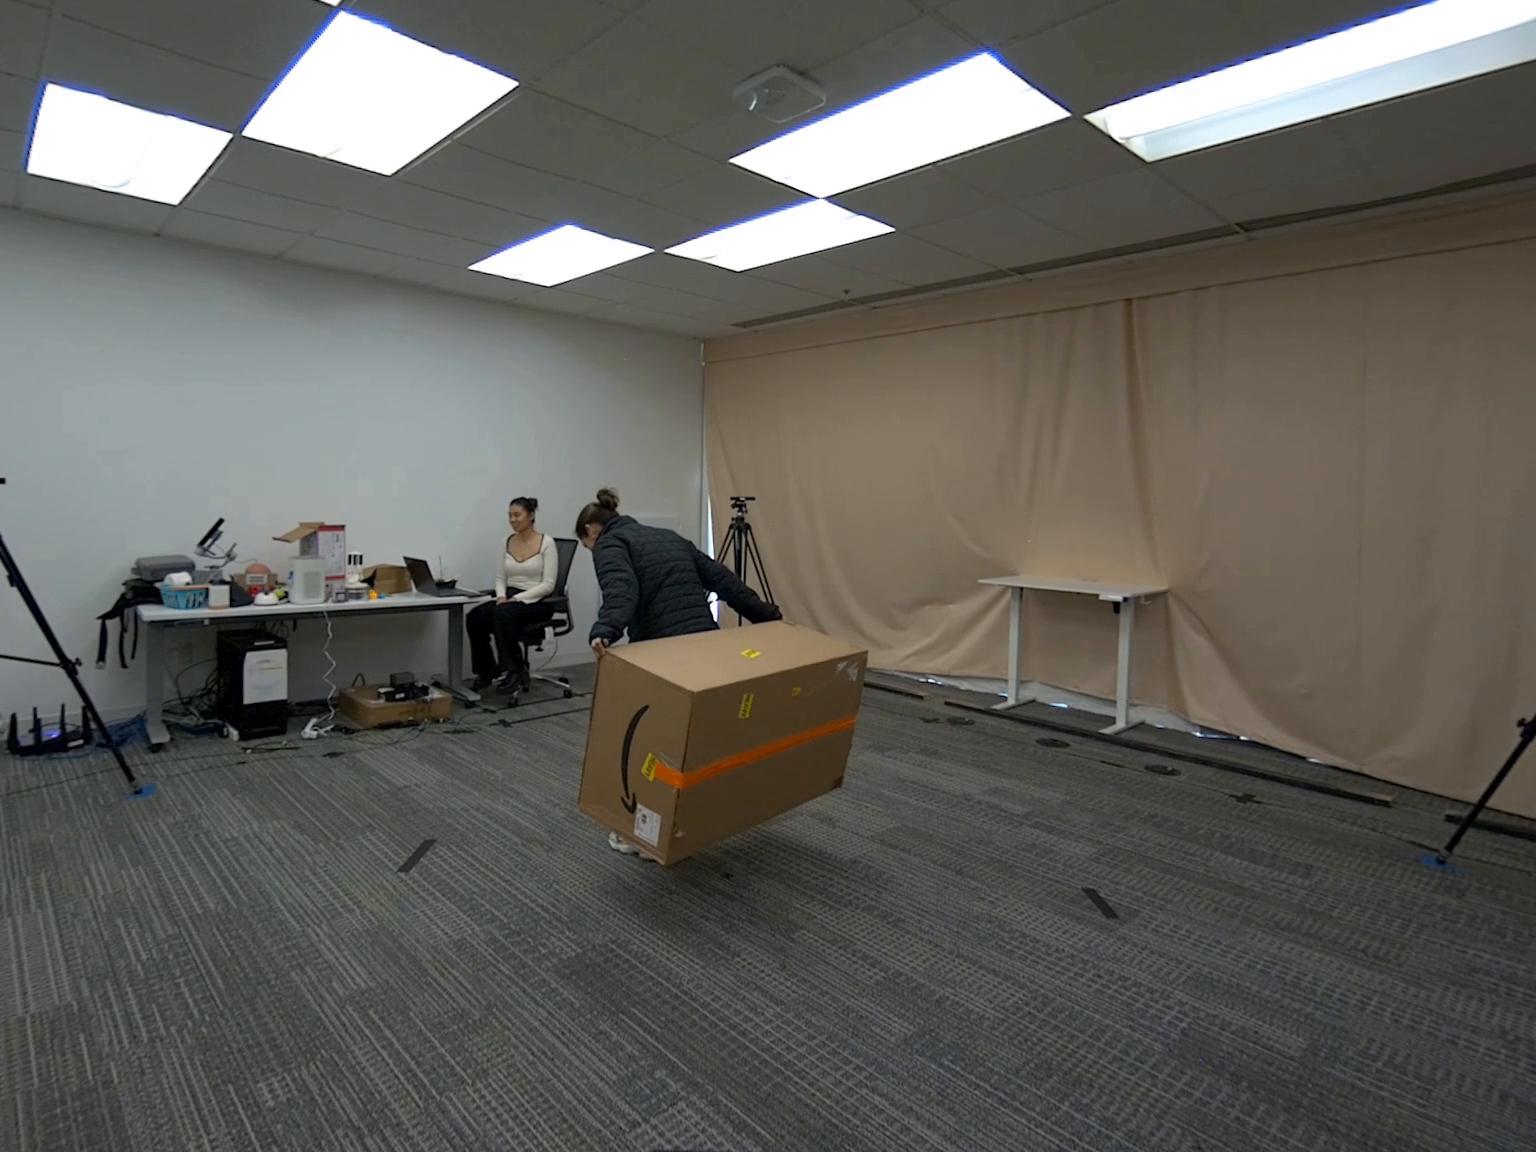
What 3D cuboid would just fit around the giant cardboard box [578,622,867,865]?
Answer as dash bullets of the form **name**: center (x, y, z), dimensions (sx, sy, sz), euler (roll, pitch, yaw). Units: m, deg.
- **giant cardboard box**: center (-0.119, 0.547, 3.035), dimensions (0.438, 0.574, 1.004), euler (17, 13, 35)
